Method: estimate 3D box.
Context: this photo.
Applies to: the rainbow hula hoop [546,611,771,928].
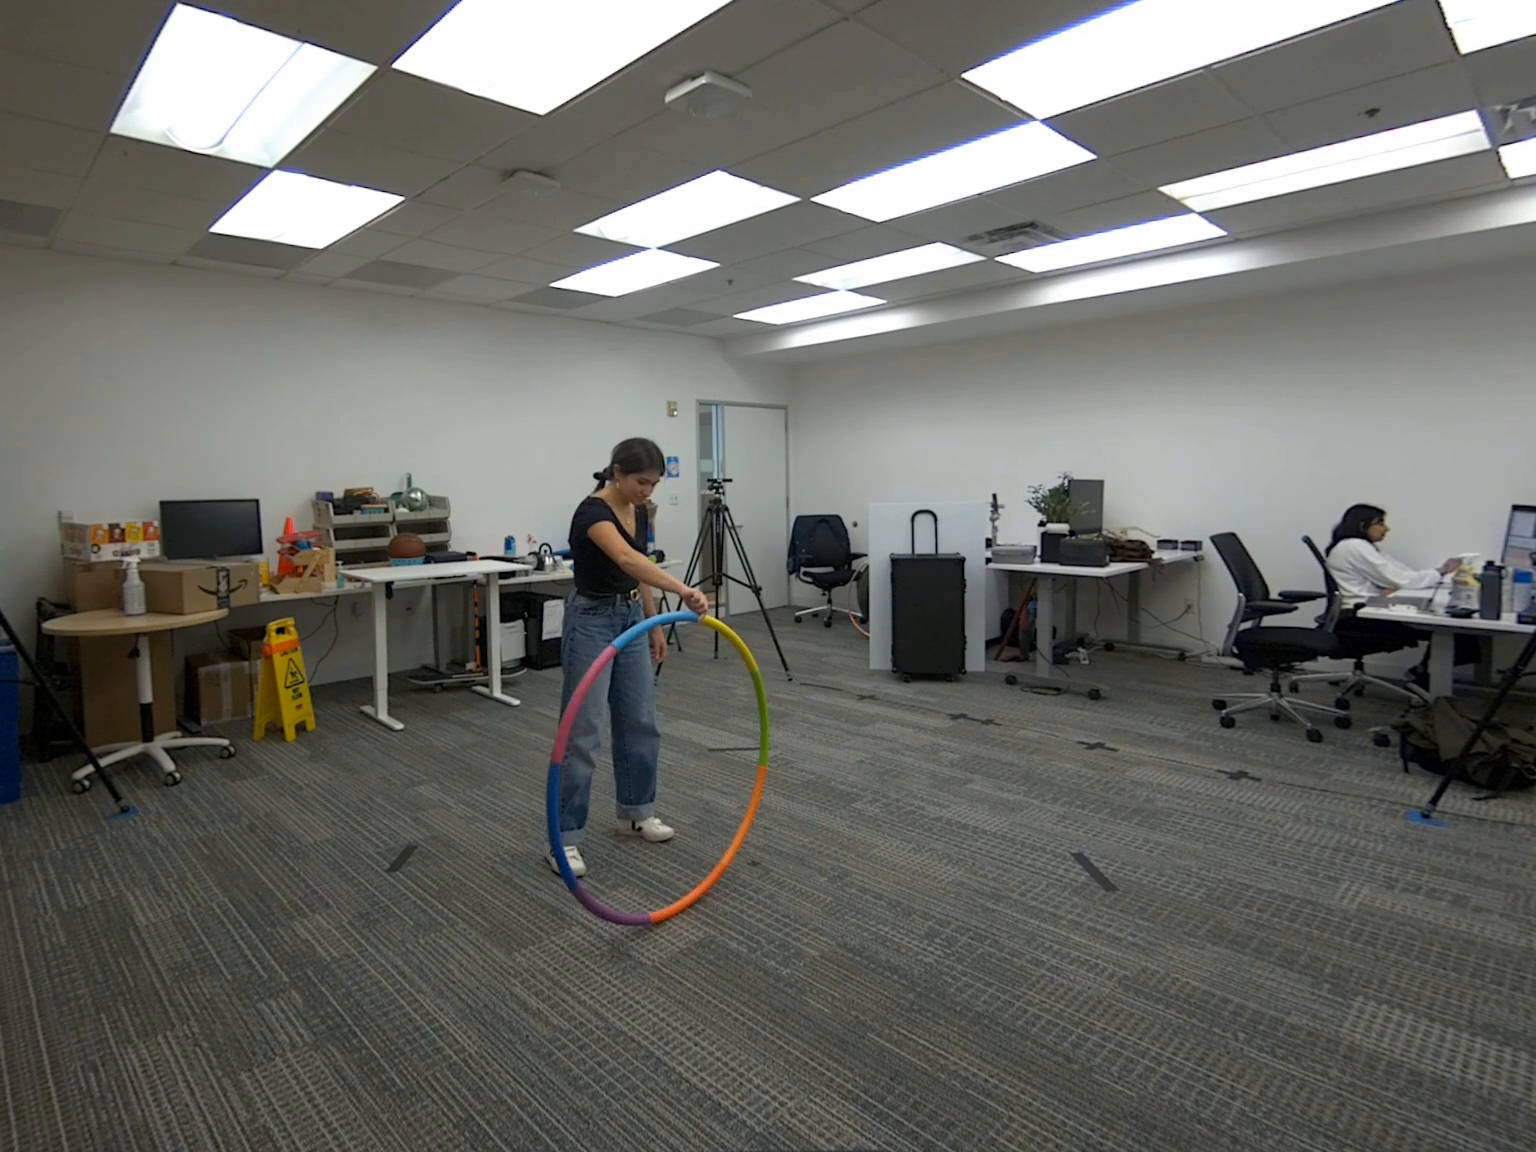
[{"bbox_3d":[-0.303,0.608,2.730,0.036,0.975,0.954,2,6,38],"label":"rainbow hula hoop"}]
